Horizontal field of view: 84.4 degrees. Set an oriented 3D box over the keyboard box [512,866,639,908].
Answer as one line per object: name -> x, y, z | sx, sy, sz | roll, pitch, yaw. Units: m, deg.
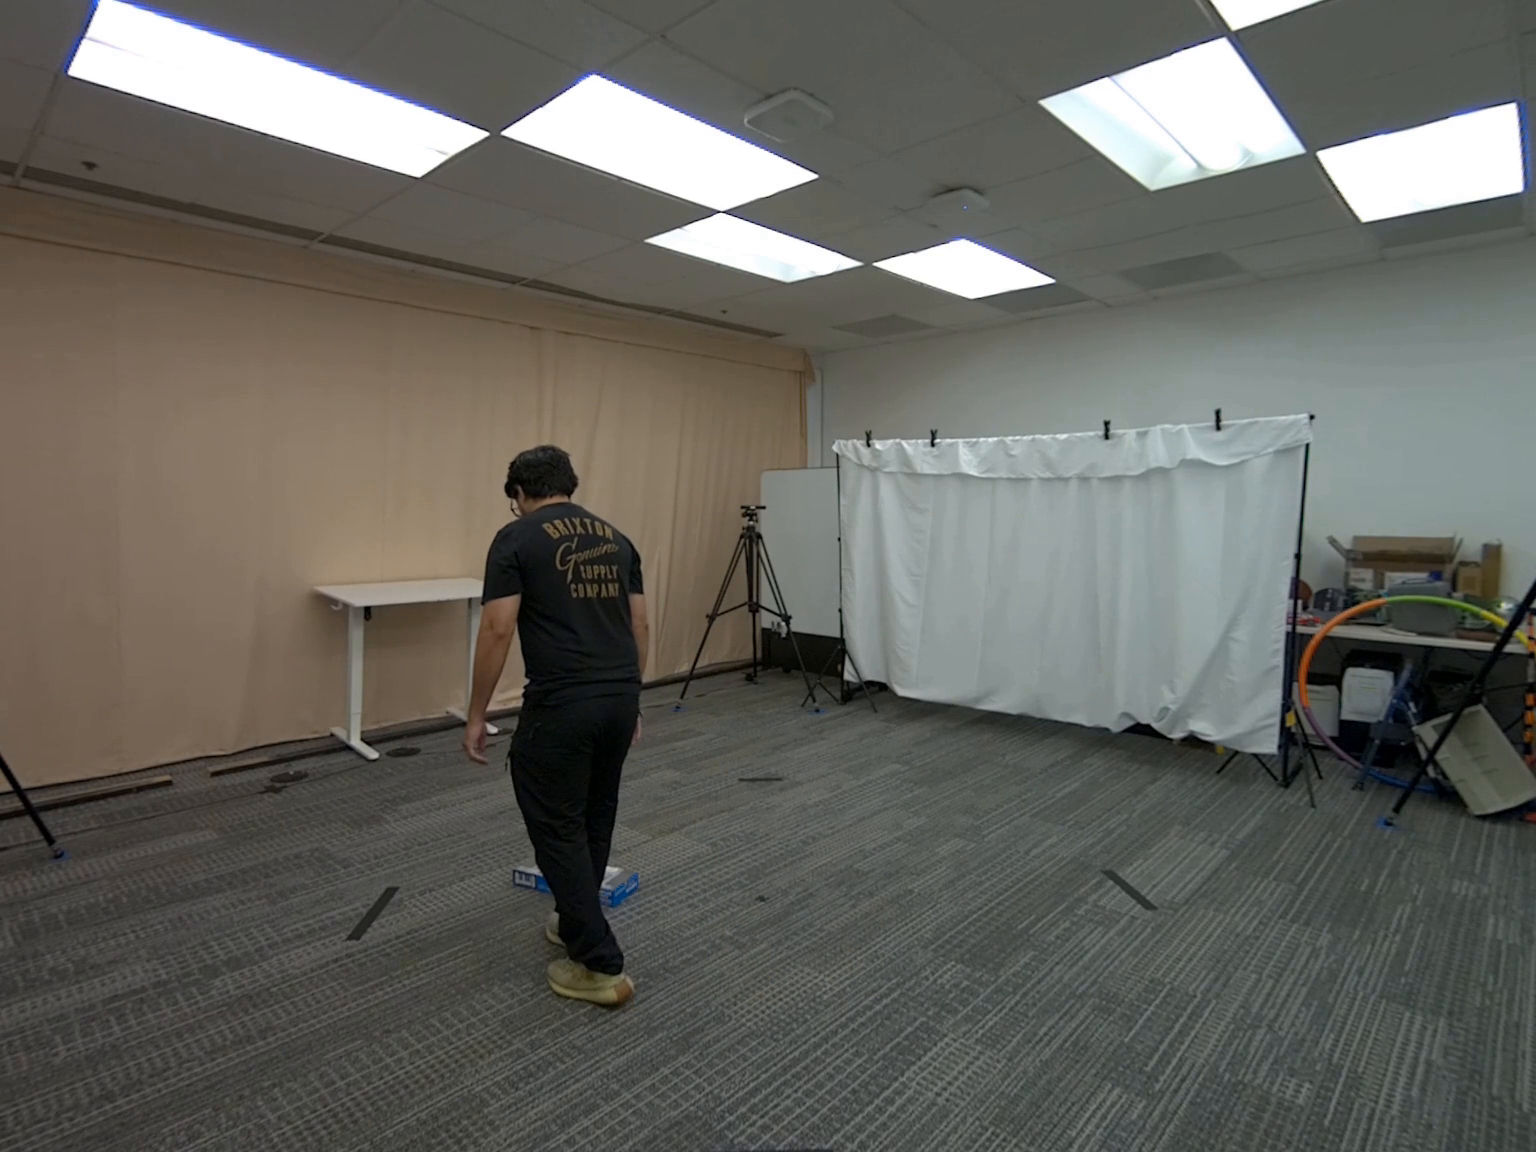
keyboard box -> -0.710, 1.111, 3.094 | 0.448, 0.059, 0.172 | 2, 4, 24
